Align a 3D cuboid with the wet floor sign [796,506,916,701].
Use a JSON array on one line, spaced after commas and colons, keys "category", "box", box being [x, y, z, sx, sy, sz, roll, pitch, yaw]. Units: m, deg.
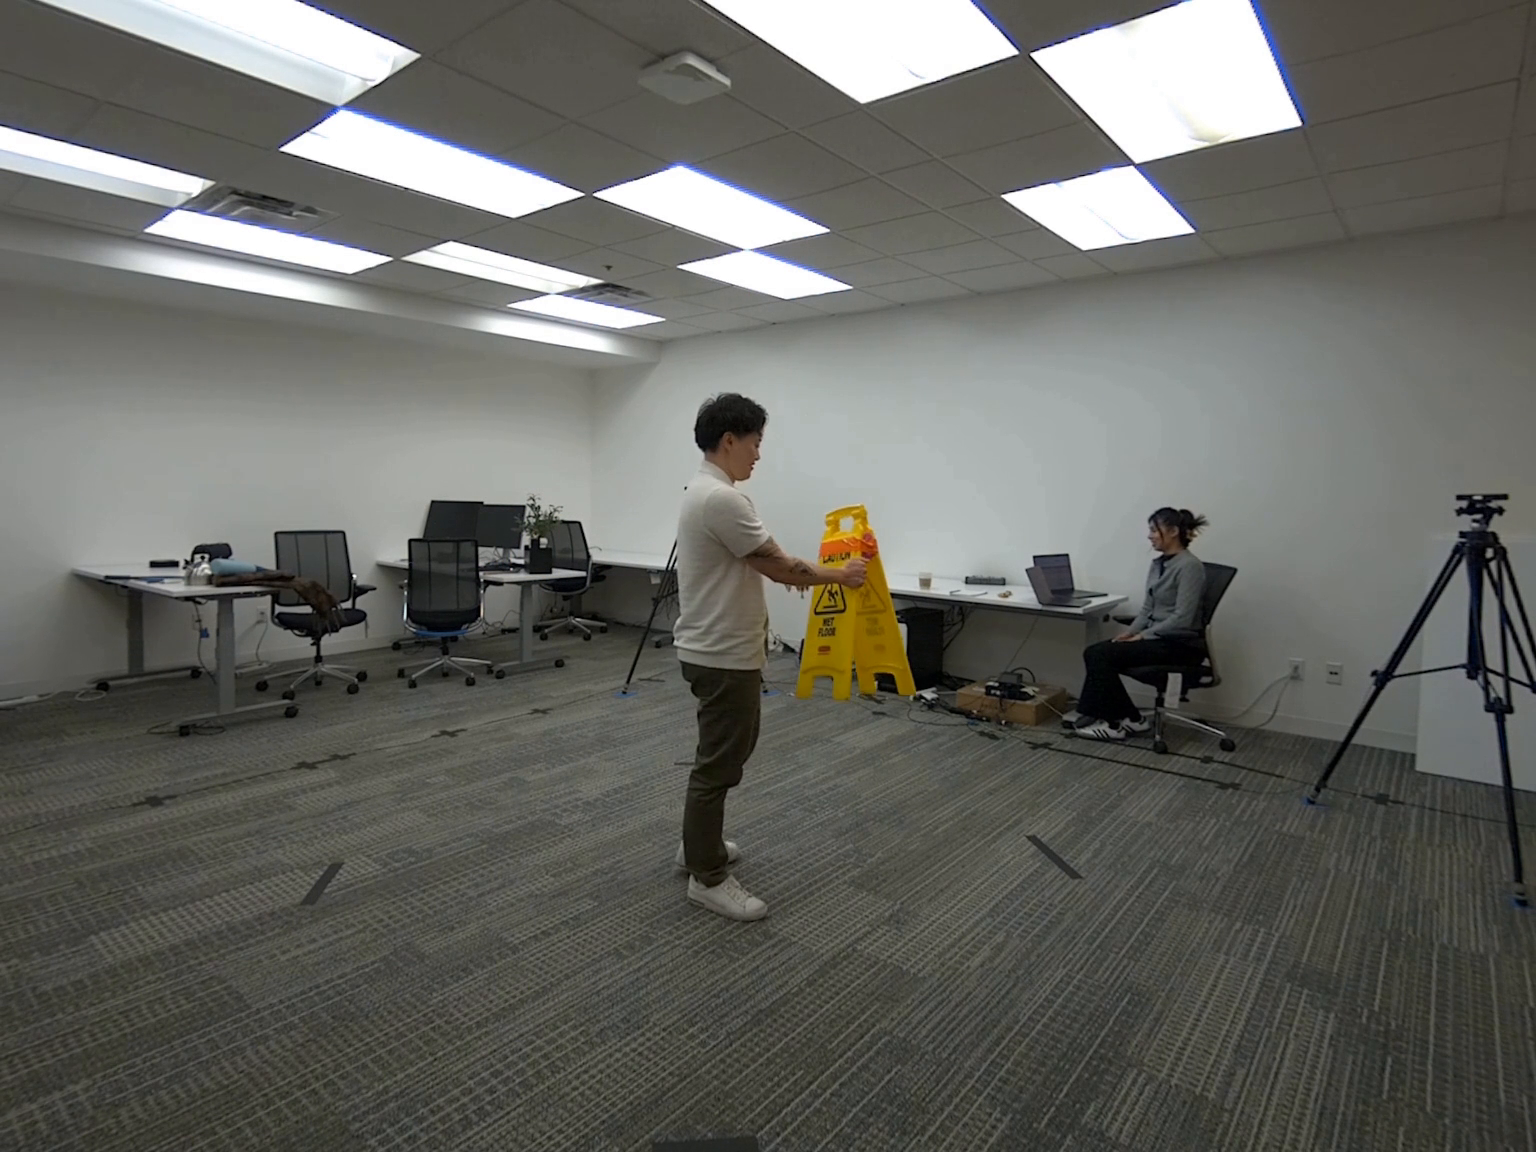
[{"category": "wet floor sign", "box": [0.267, 0.088, 2.916, 0.281, 0.652, 0.288, 2, -10, -32]}]
